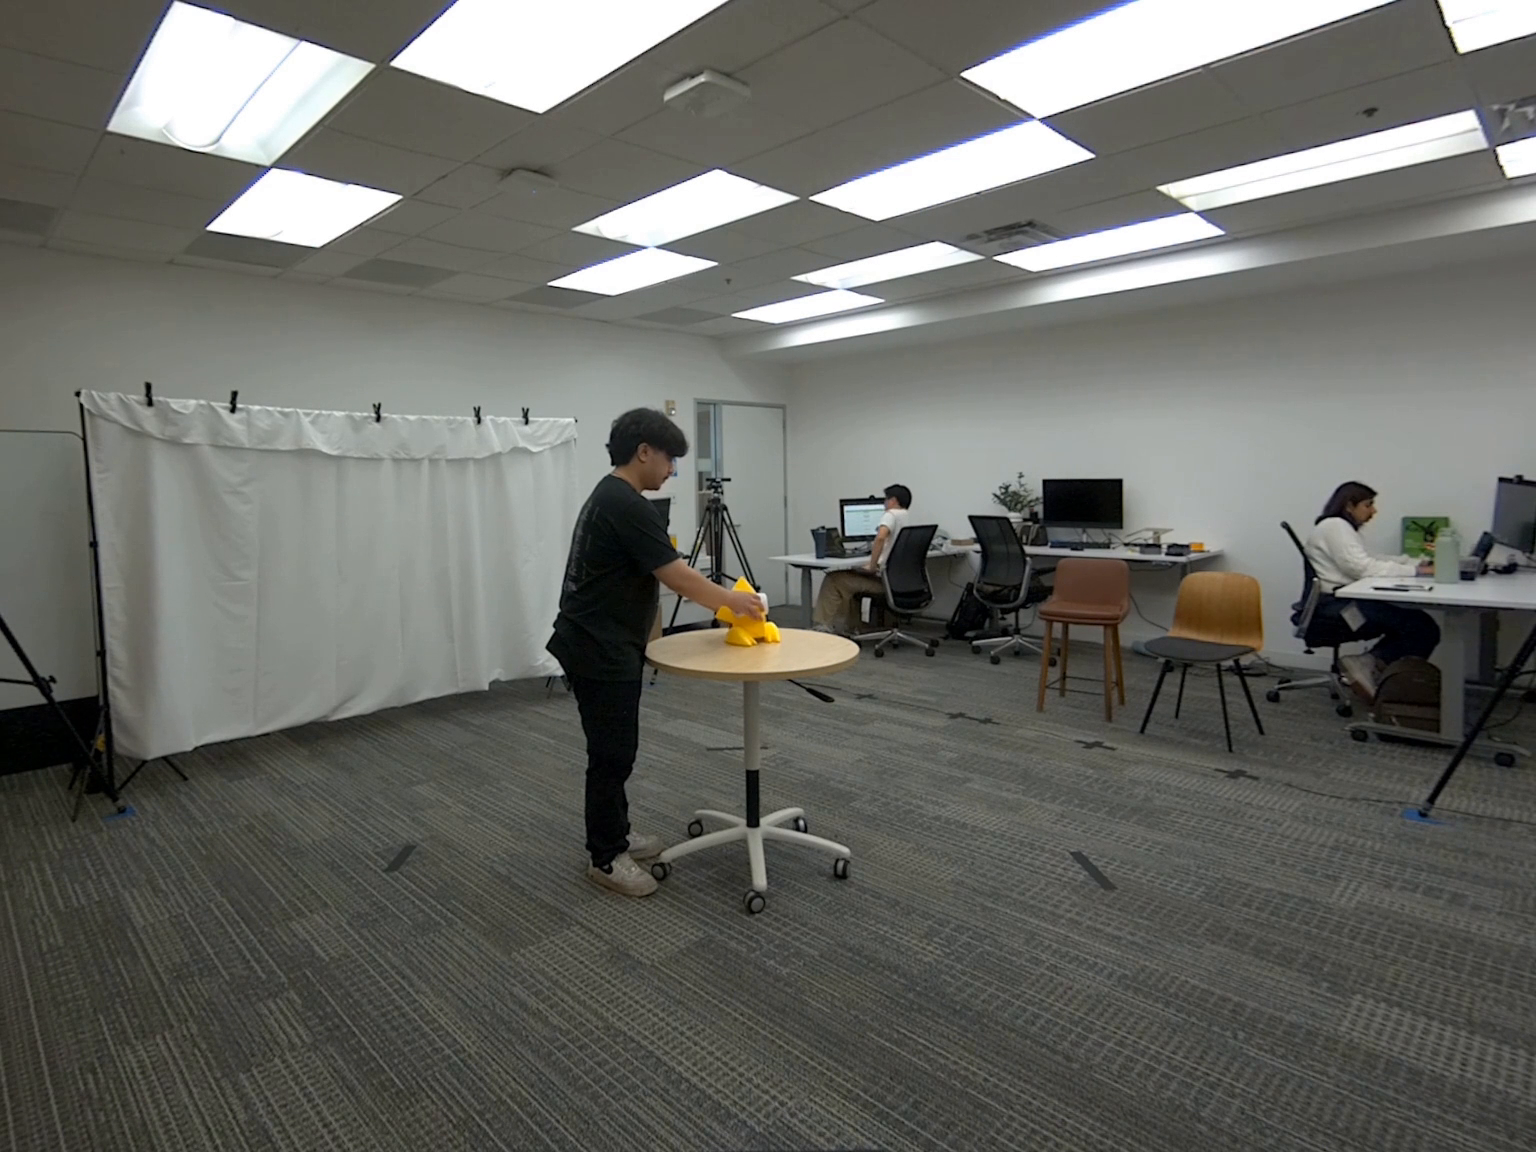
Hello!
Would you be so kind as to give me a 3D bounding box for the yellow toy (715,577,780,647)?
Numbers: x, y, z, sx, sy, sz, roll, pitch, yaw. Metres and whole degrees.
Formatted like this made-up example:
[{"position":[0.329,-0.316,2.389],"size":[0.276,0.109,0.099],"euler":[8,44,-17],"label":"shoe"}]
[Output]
[{"position":[-0.057,0.120,3.163],"size":[0.200,0.229,0.199],"euler":[-5,7,-33],"label":"yellow toy"}]
